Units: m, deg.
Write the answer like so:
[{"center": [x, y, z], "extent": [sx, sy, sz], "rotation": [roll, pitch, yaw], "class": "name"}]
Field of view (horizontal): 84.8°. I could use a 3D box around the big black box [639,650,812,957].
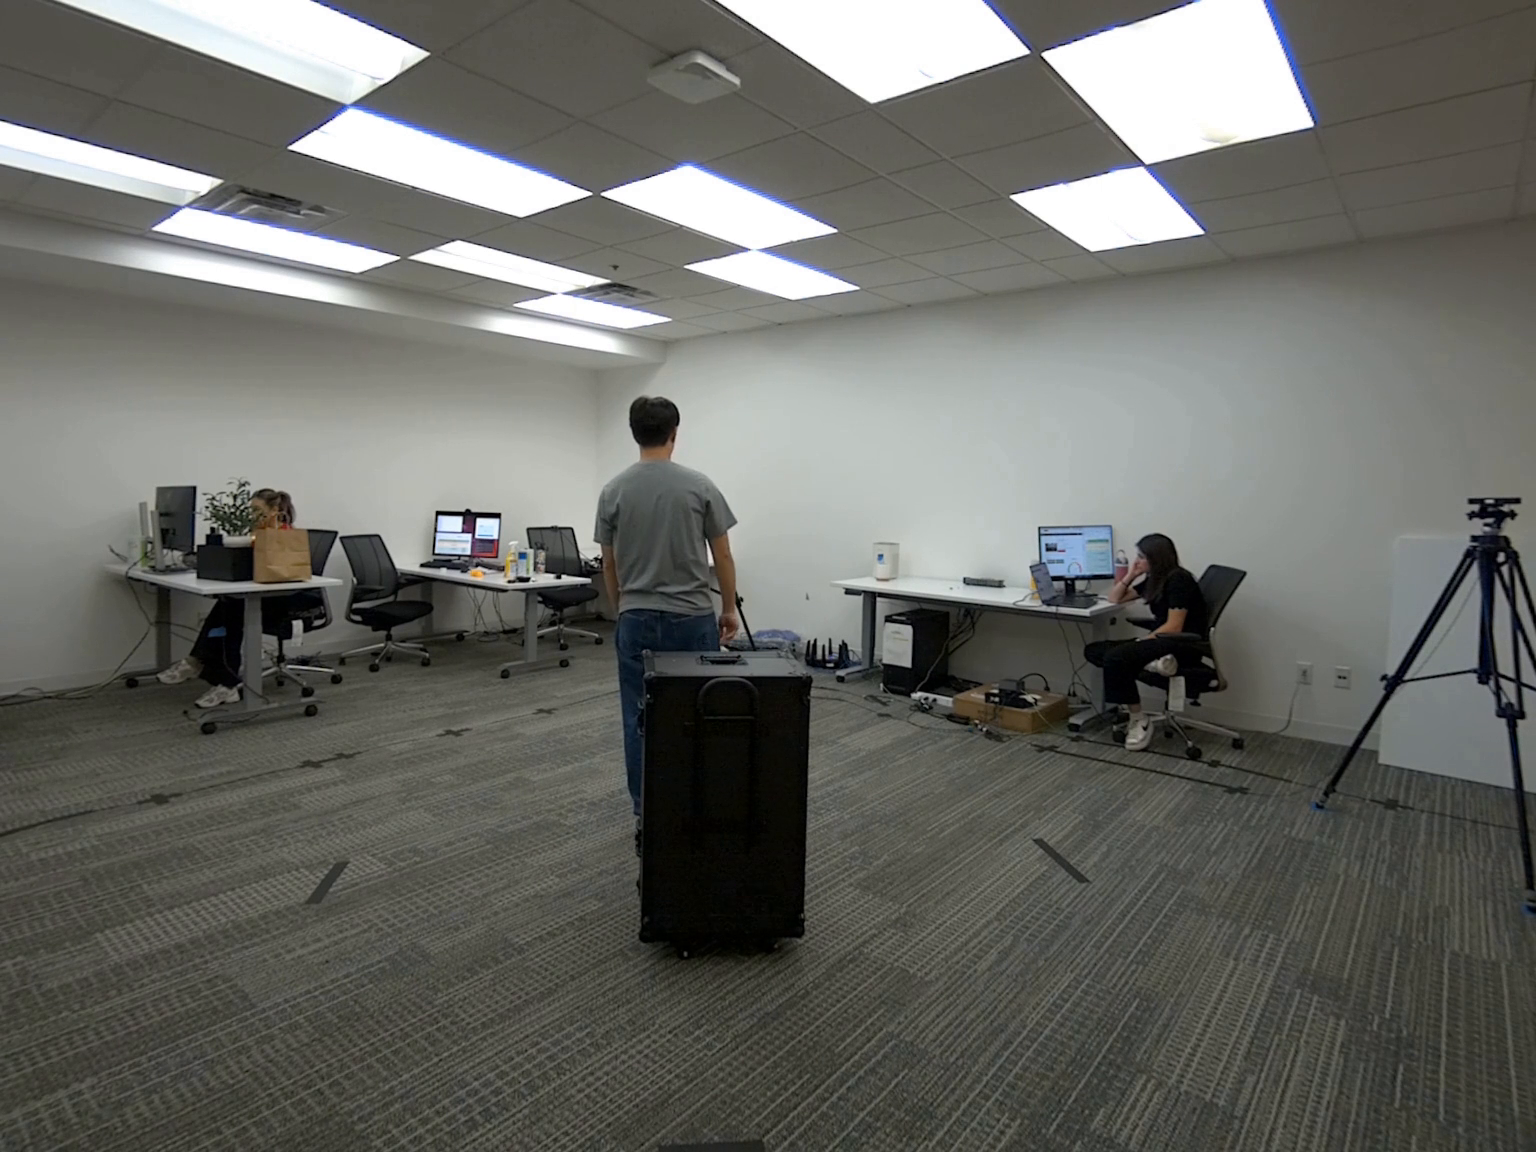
[{"center": [-0.164, 0.631, 2.625], "extent": [0.518, 0.859, 0.400], "rotation": [1, 3, -6], "class": "big black box"}]
